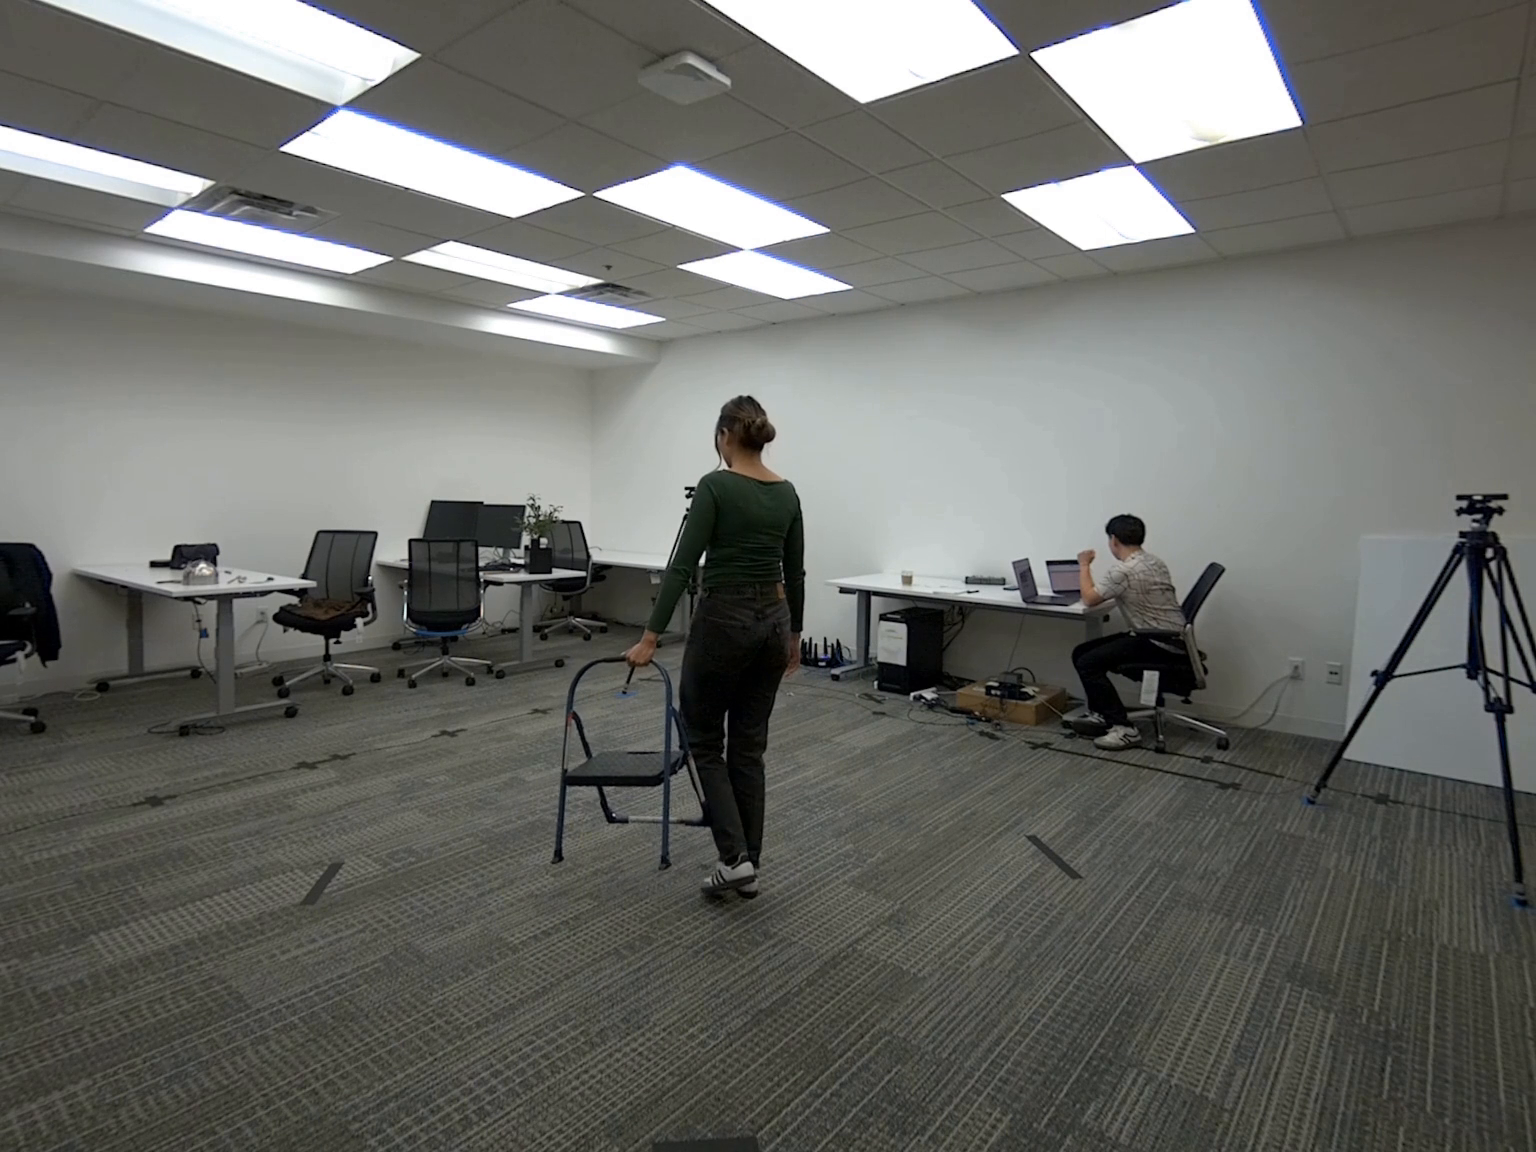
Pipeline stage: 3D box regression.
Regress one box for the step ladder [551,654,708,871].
[{"bbox_3d":[-0.490,0.579,2.773,0.440,0.605,0.343,-7,3,24],"label":"step ladder"}]
